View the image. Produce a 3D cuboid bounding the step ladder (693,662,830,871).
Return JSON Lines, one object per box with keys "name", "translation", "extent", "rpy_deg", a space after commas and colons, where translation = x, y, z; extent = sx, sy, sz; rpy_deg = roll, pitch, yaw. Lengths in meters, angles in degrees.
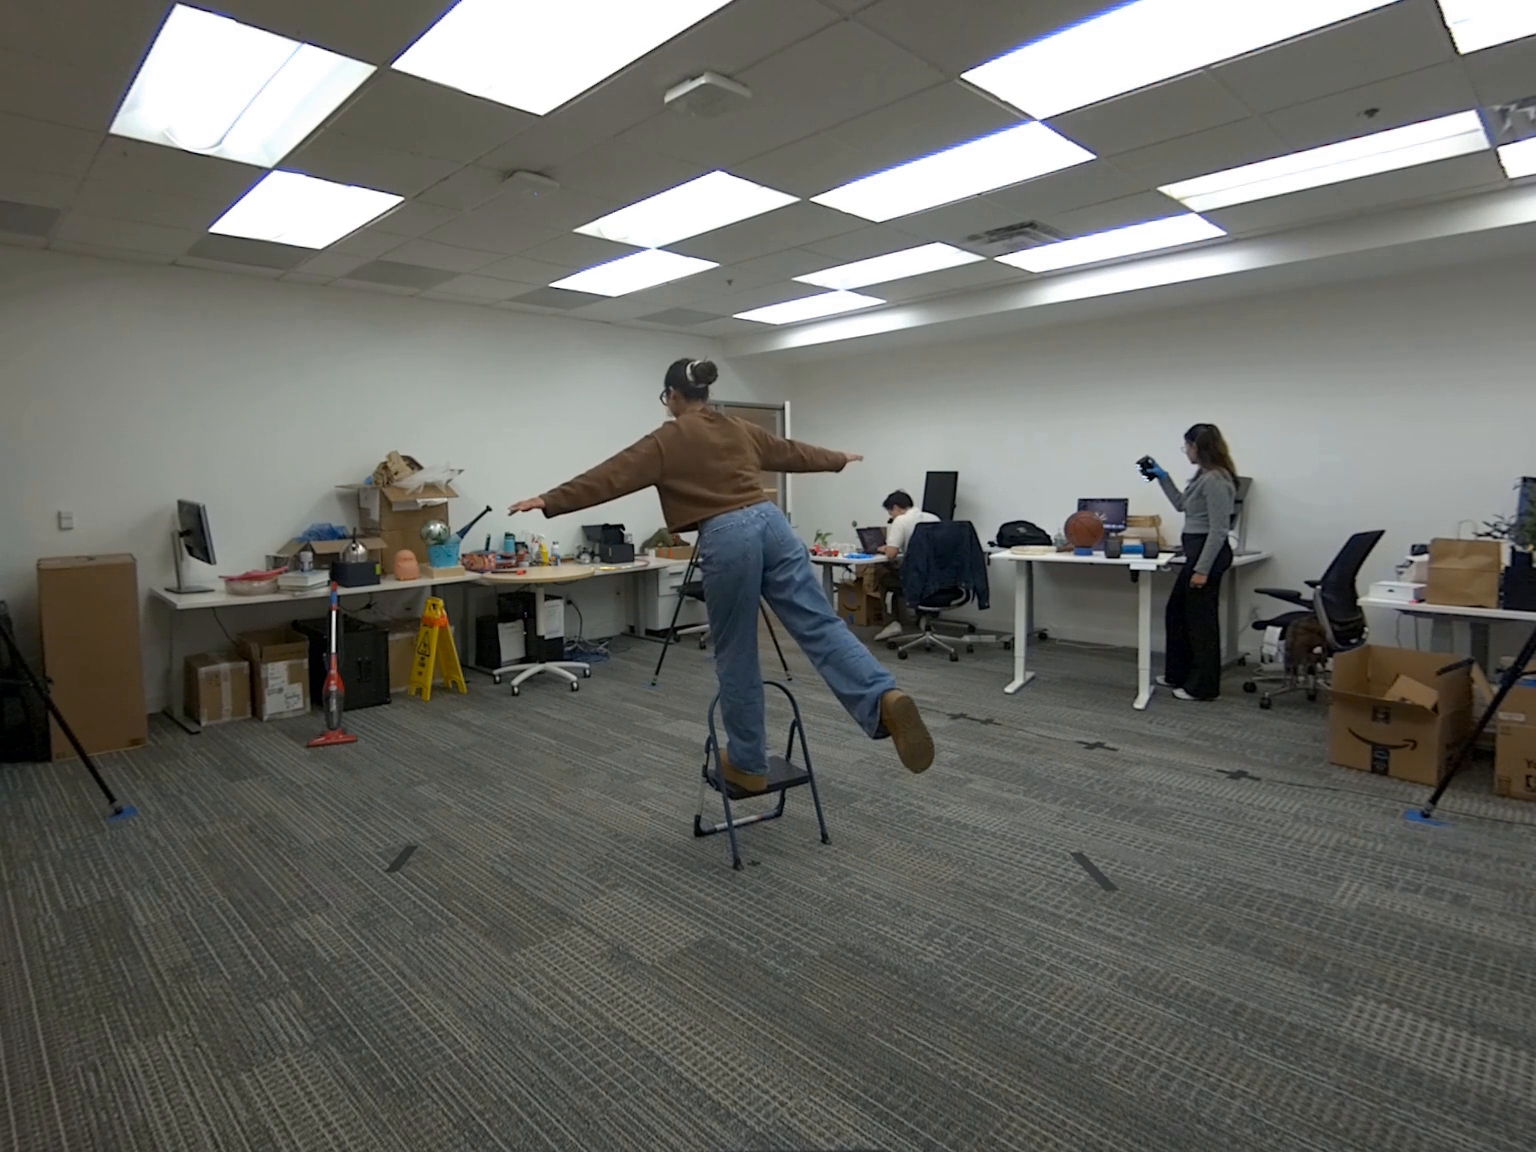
{"name": "step ladder", "translation": [-0.030, 0.721, 3.292], "extent": [0.420, 0.604, 0.359], "rpy_deg": [-4, 5, -33]}
